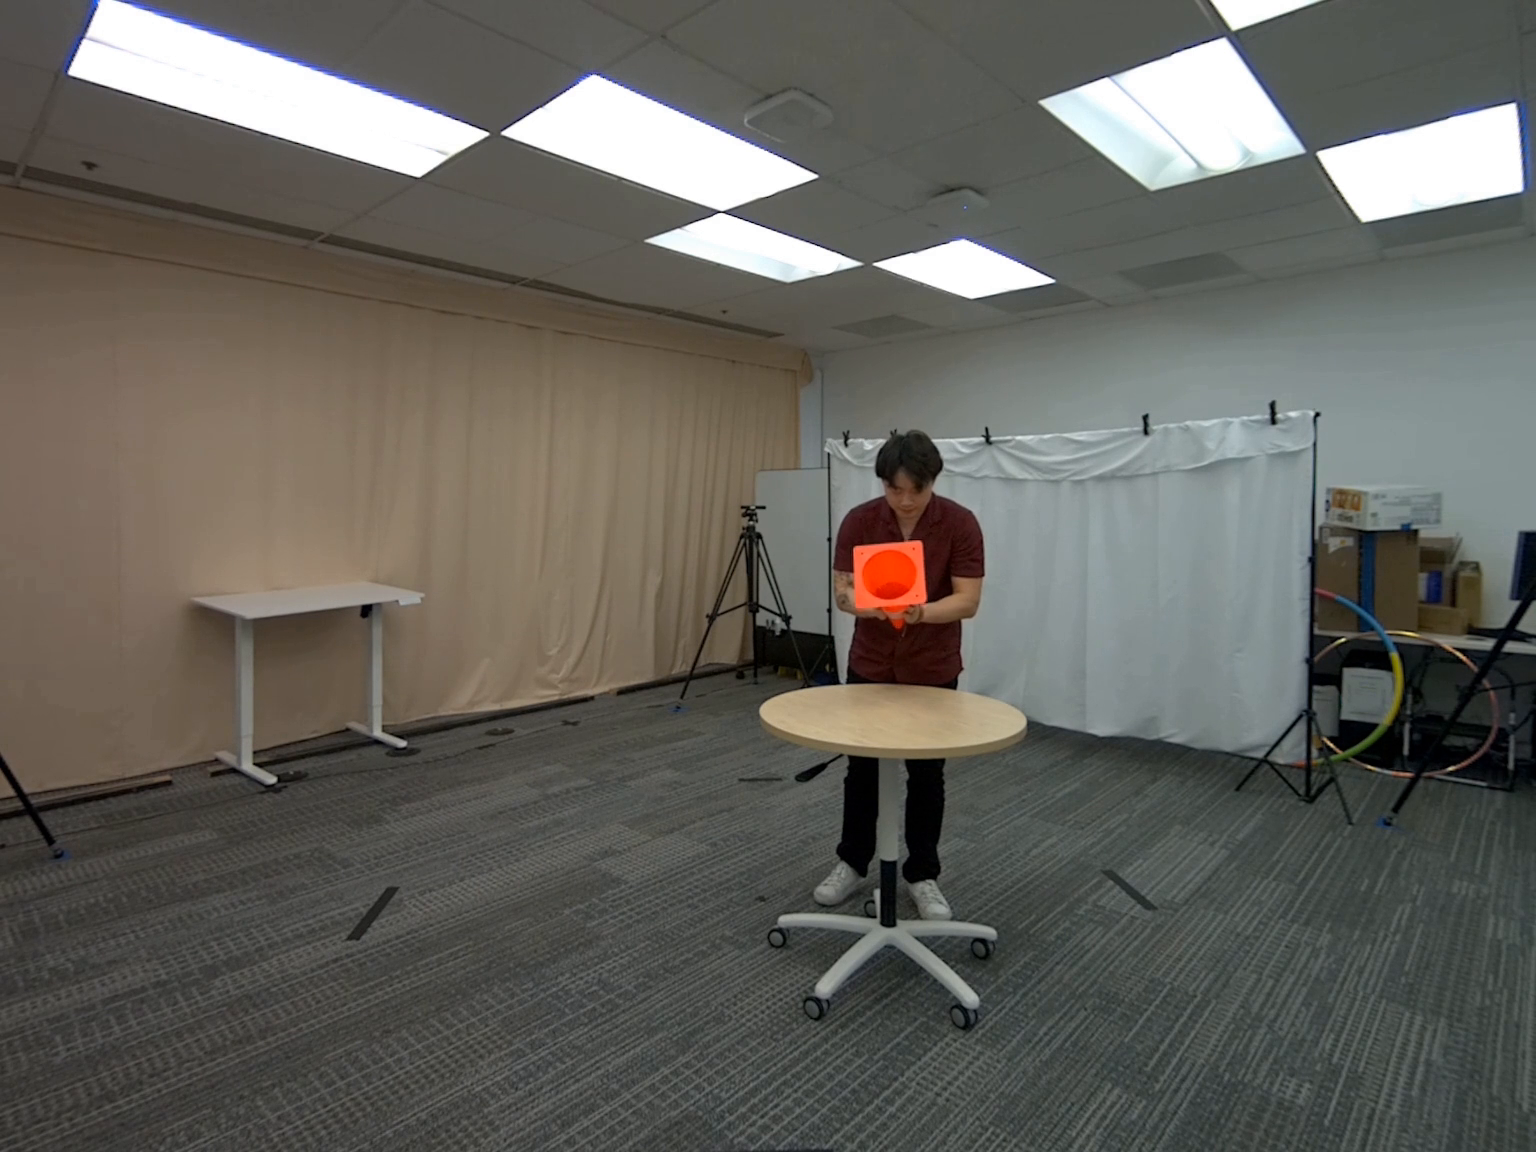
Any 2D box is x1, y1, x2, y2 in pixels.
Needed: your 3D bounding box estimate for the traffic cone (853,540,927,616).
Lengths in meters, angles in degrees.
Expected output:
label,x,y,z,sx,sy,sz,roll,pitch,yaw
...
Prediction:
label,x,y,z,sx,sy,sz,roll,pitch,yaw
traffic cone,0.384,0.076,2.579,0.207,0.207,0.373,-2,-25,15
